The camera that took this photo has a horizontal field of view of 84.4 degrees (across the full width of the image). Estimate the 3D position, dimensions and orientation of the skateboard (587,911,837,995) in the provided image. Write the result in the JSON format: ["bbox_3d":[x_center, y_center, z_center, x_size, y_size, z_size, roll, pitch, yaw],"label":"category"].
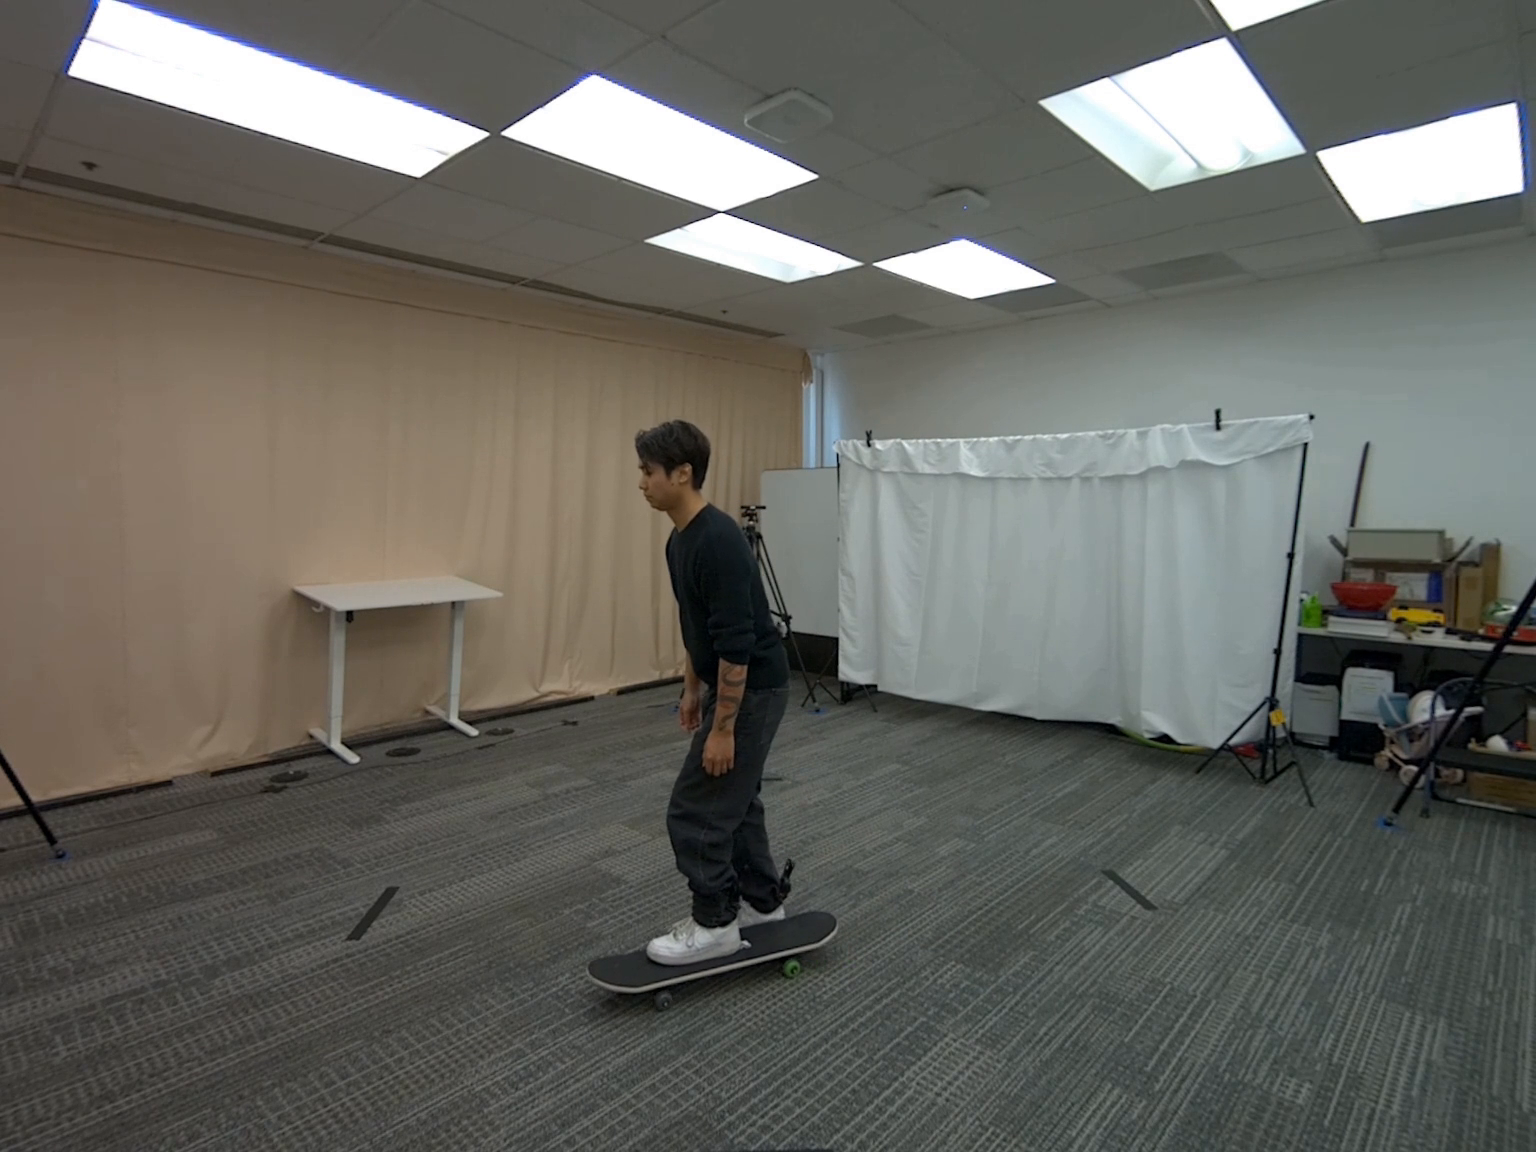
[{"bbox_3d":[-0.143,1.130,2.471,0.768,0.110,0.198,-2,4,-23],"label":"skateboard"}]
